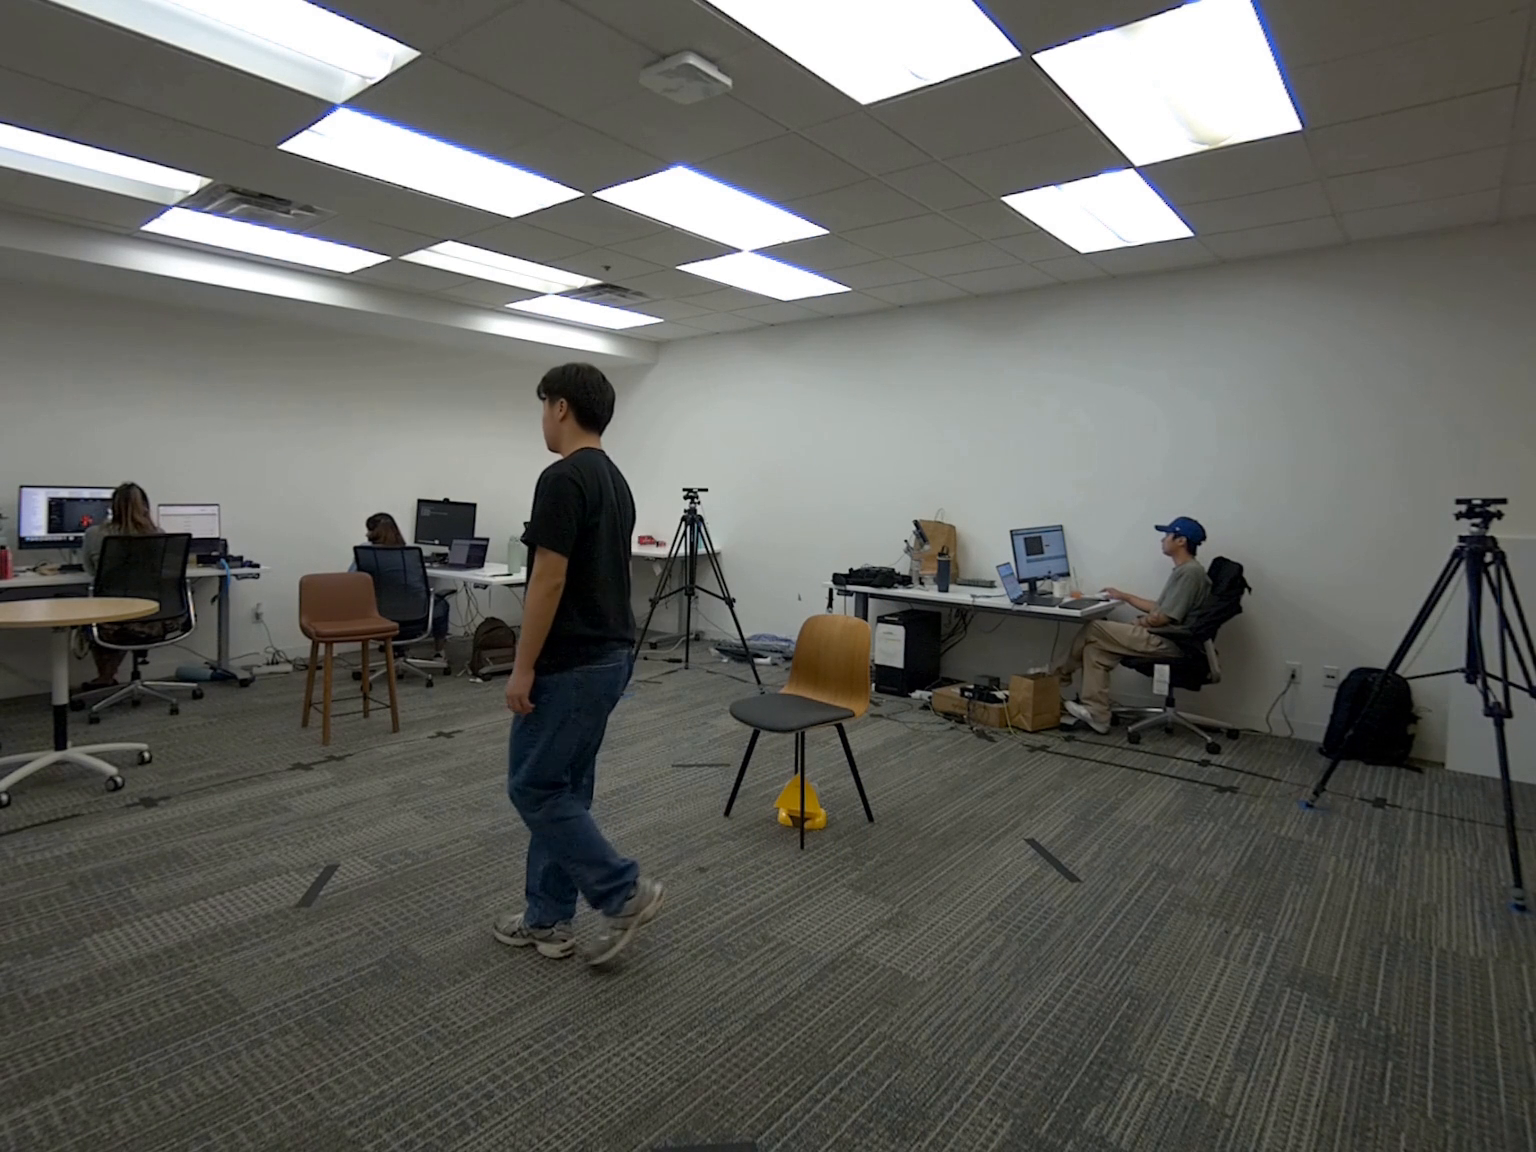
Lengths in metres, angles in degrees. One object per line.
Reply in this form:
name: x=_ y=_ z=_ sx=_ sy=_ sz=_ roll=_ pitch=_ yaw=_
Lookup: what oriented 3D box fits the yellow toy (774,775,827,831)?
yellow toy: x=0.138 y=0.919 z=3.579 sx=0.209 sy=0.229 sz=0.190 roll=3 pitch=6 yaw=18
